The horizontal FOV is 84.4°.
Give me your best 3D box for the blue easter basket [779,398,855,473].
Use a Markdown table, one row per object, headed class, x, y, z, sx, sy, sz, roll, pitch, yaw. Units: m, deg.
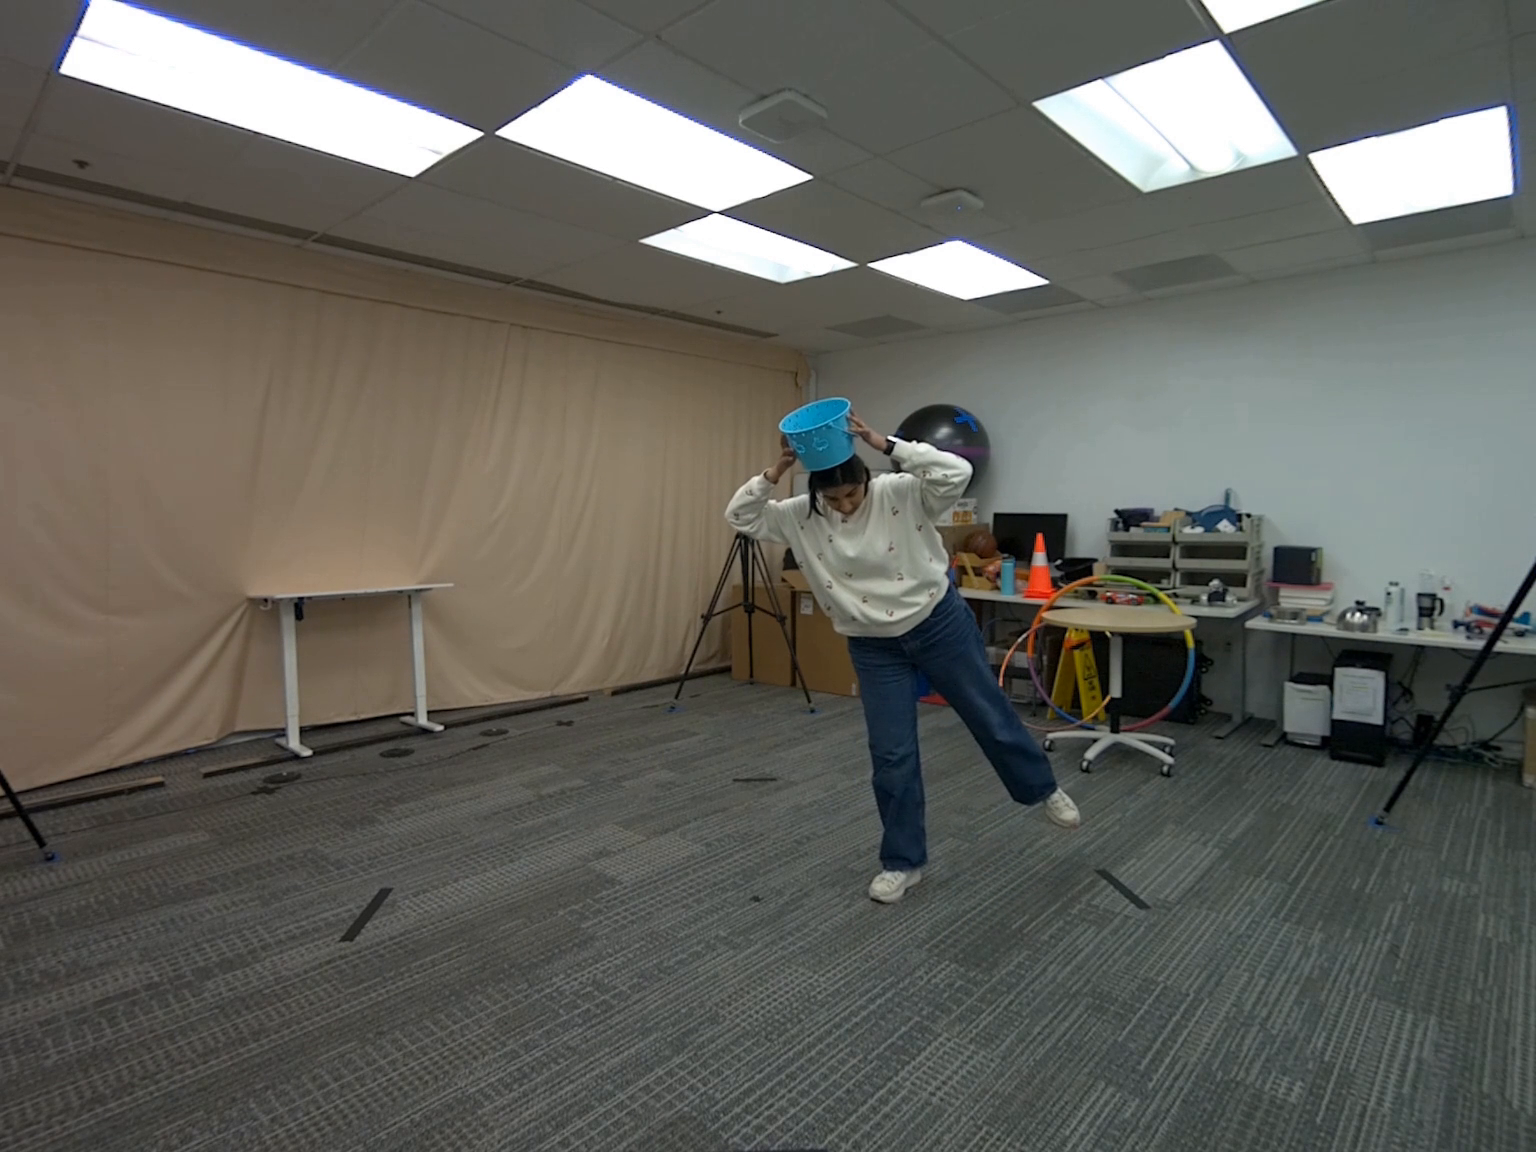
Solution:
| class | x | y | z | sx | sy | sz | roll | pitch | yaw |
| --- | --- | --- | --- | --- | --- | --- | --- | --- | --- |
| blue easter basket | 0.180 | -0.448 | 2.675 | 0.245 | 0.152 | 0.247 | -20 | 27 | 8 |
